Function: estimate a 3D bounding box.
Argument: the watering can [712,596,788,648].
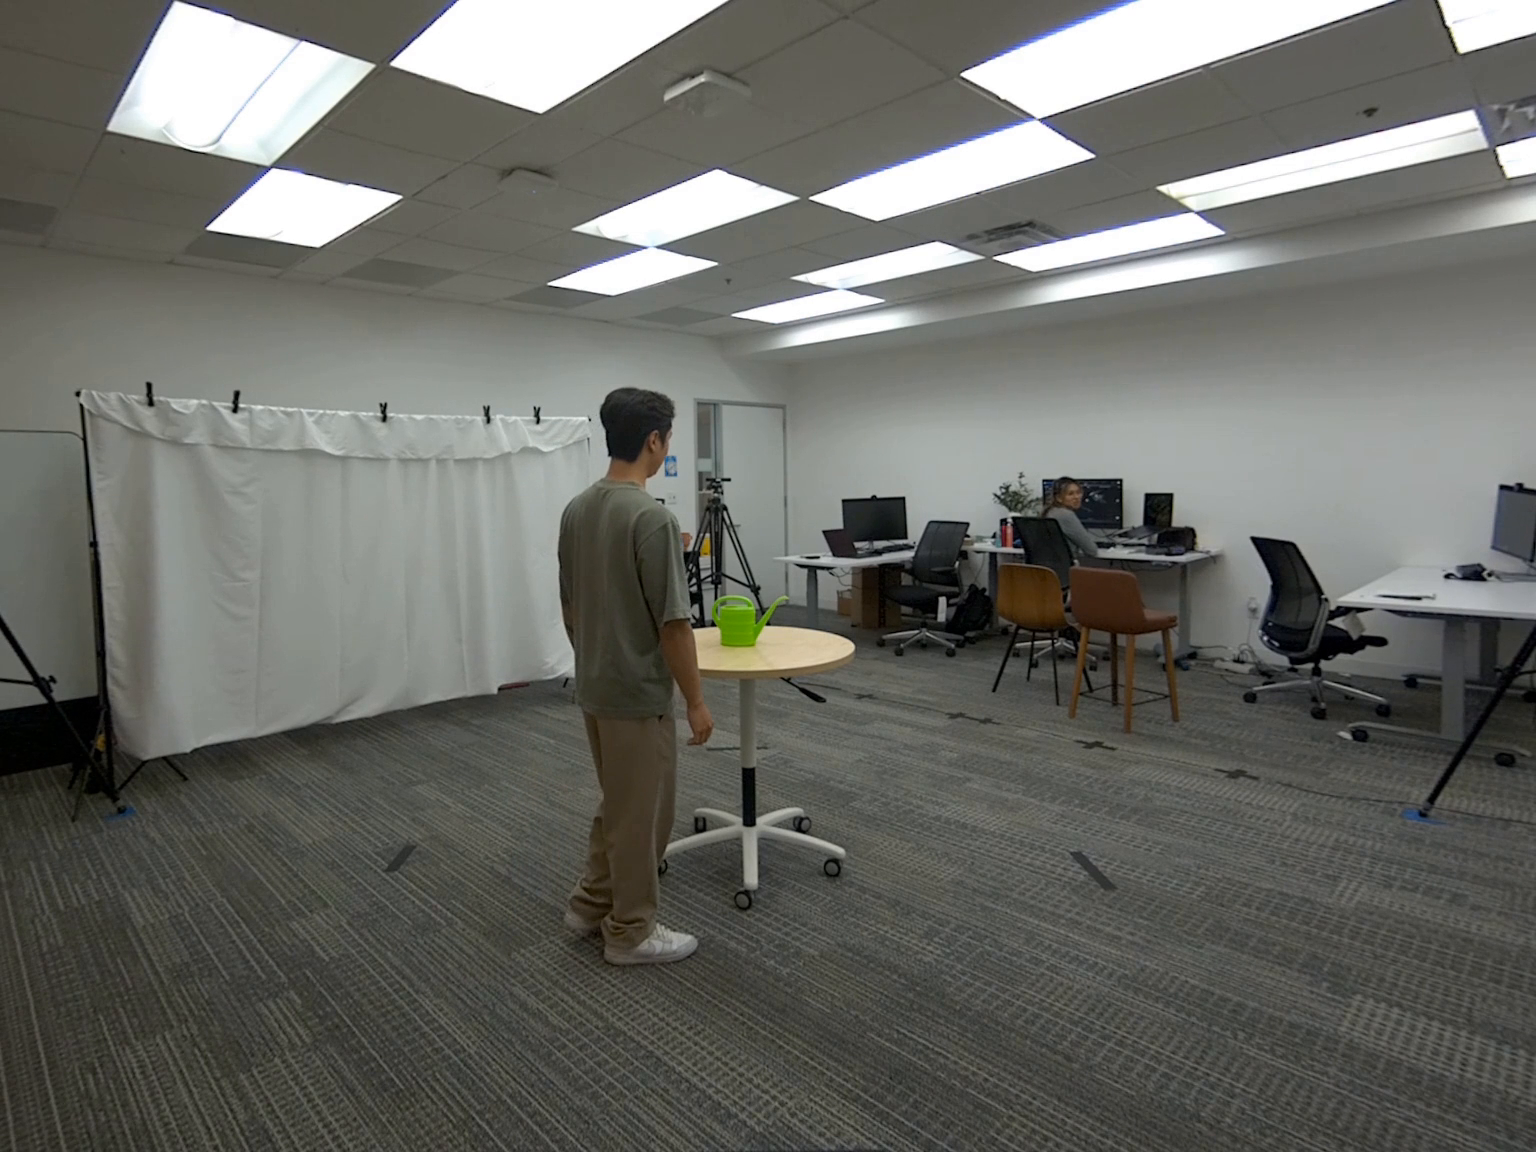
[{"bbox_3d":[-0.068,0.164,3.052,0.285,0.176,0.096,1,4,32],"label":"watering can"}]
